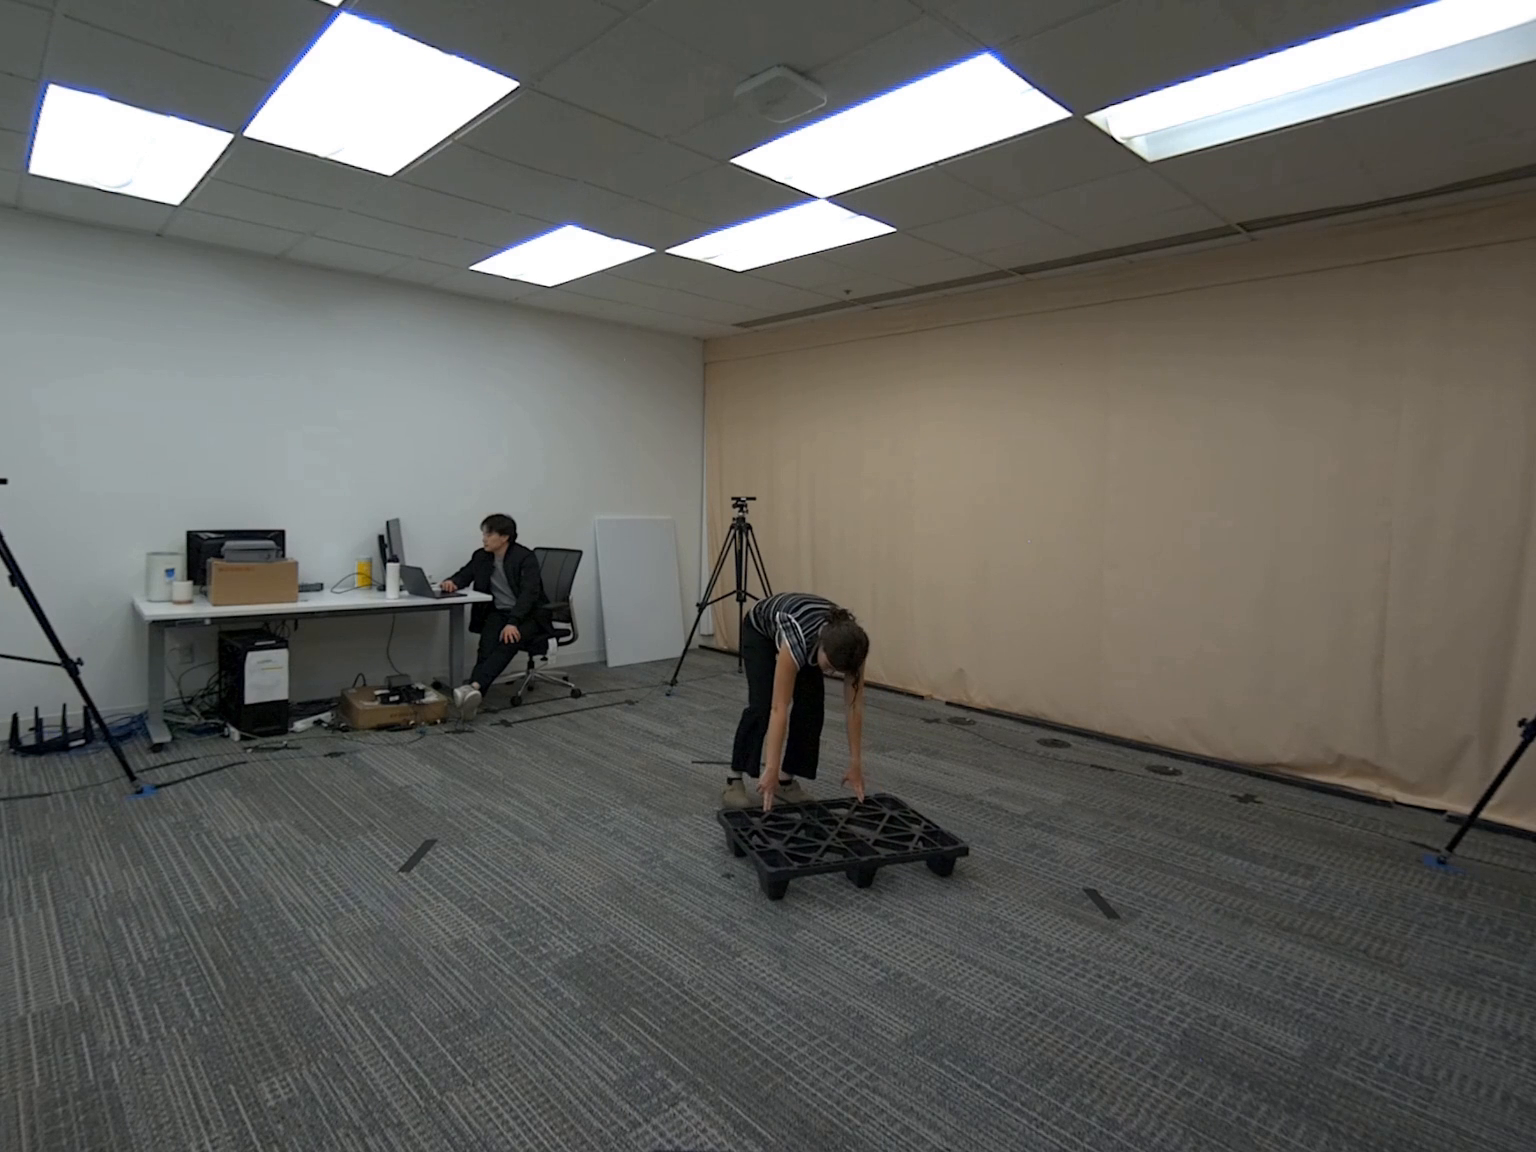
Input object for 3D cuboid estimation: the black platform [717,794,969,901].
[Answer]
[{"bbox_3d":[0.260,1.035,3.242,0.794,0.143,0.616,-1,5,-19],"label":"black platform"}]
